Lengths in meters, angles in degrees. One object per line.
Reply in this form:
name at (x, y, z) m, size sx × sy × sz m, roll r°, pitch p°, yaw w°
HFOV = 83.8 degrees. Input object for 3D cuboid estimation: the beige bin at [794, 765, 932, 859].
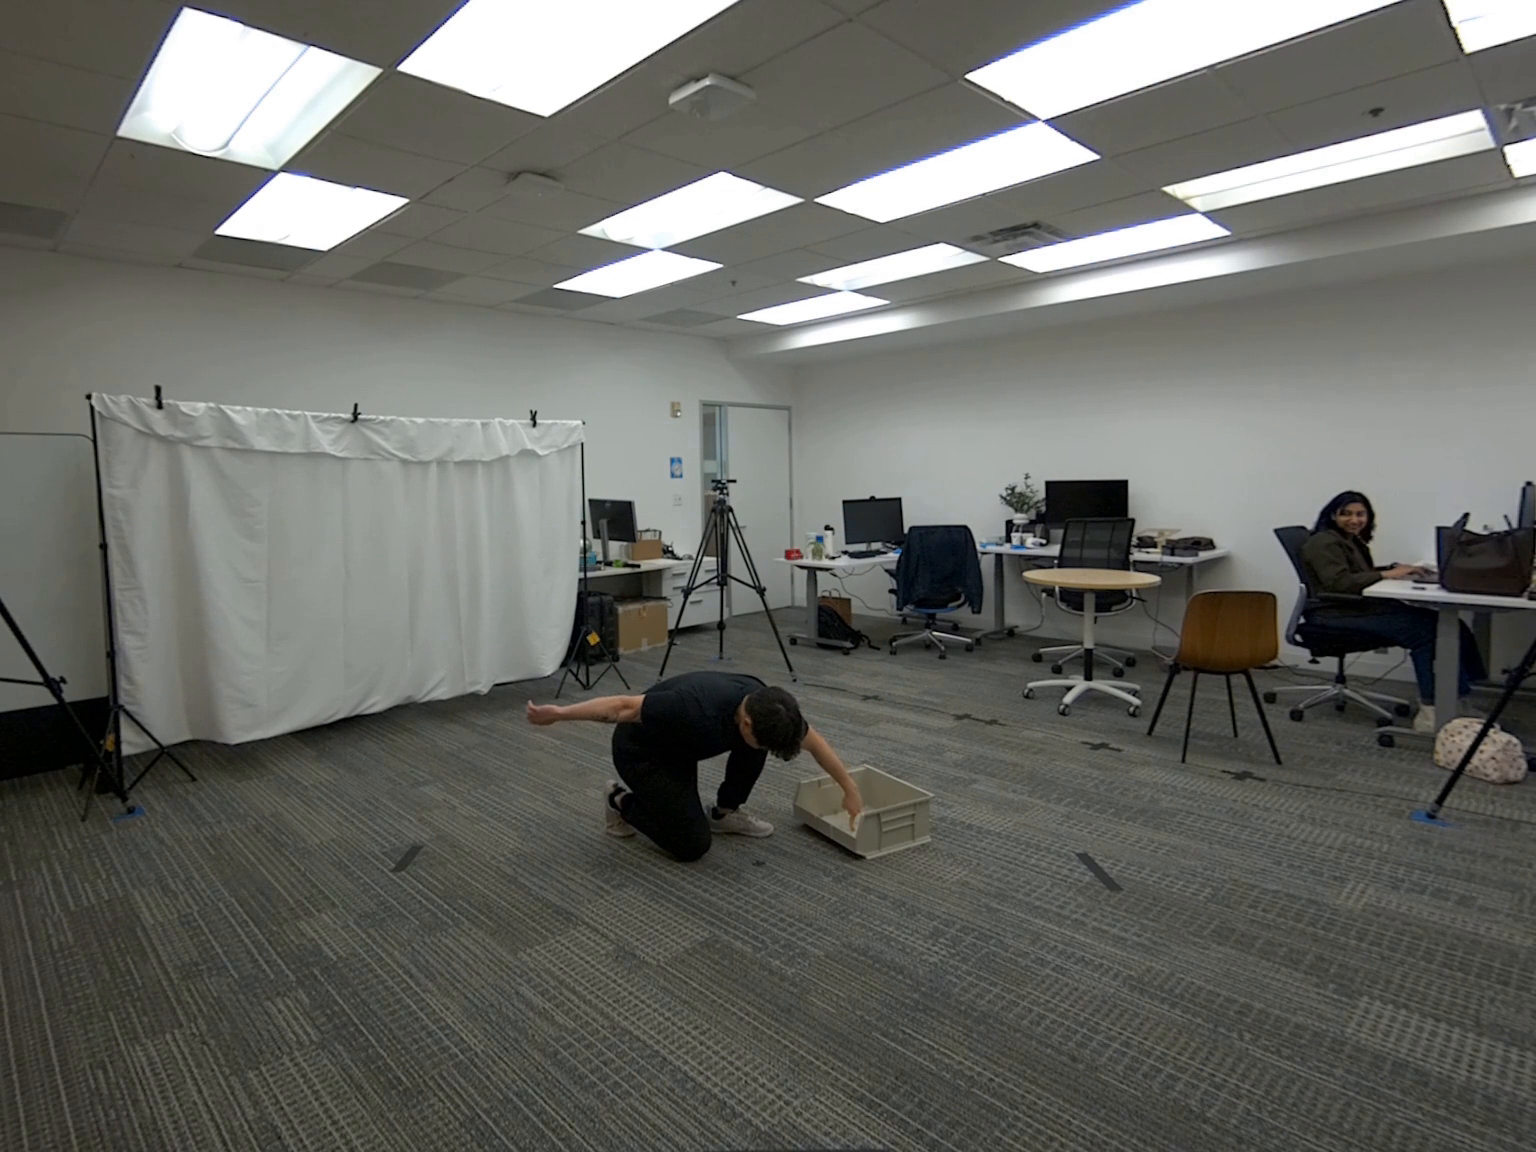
beige bin at (0.364, 0.916, 3.357) m, size 0.368 × 0.188 × 0.434 m, roll -4°, pitch 6°, yaw -30°
